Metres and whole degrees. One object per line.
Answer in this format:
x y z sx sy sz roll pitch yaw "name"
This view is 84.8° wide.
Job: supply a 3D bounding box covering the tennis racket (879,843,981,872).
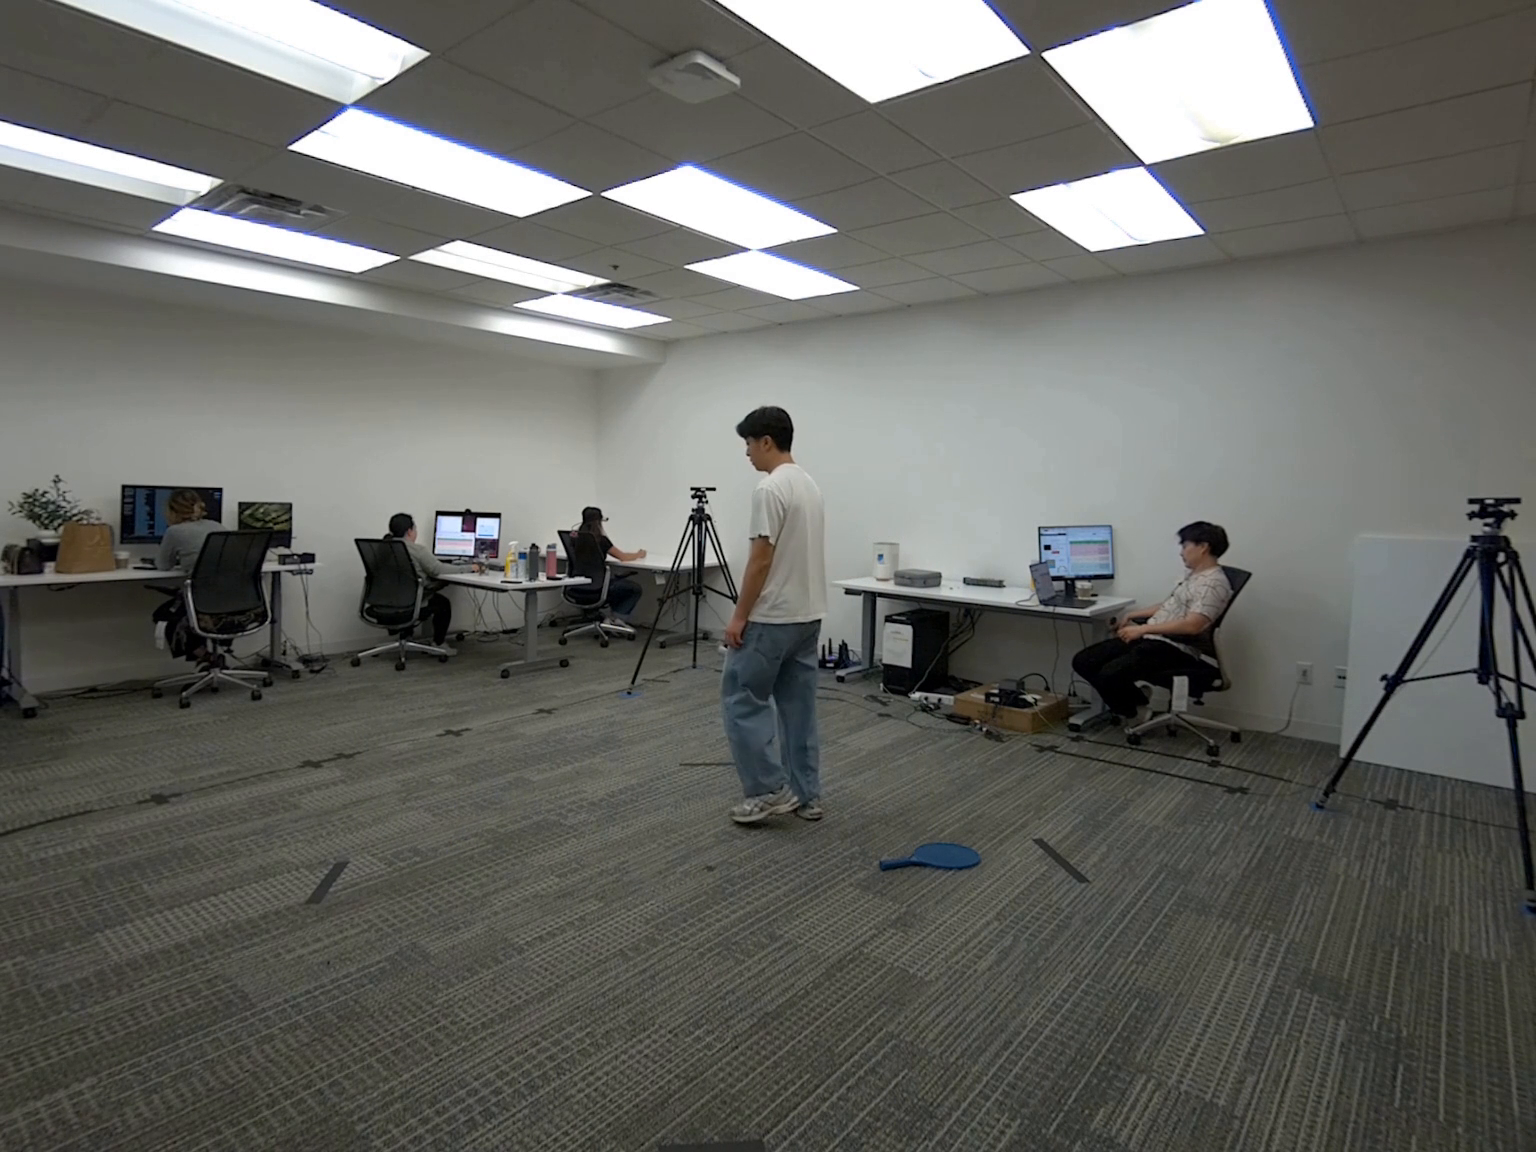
0.599 1.057 3.222 0.423 0.031 0.219 0 5 -23 "tennis racket"
